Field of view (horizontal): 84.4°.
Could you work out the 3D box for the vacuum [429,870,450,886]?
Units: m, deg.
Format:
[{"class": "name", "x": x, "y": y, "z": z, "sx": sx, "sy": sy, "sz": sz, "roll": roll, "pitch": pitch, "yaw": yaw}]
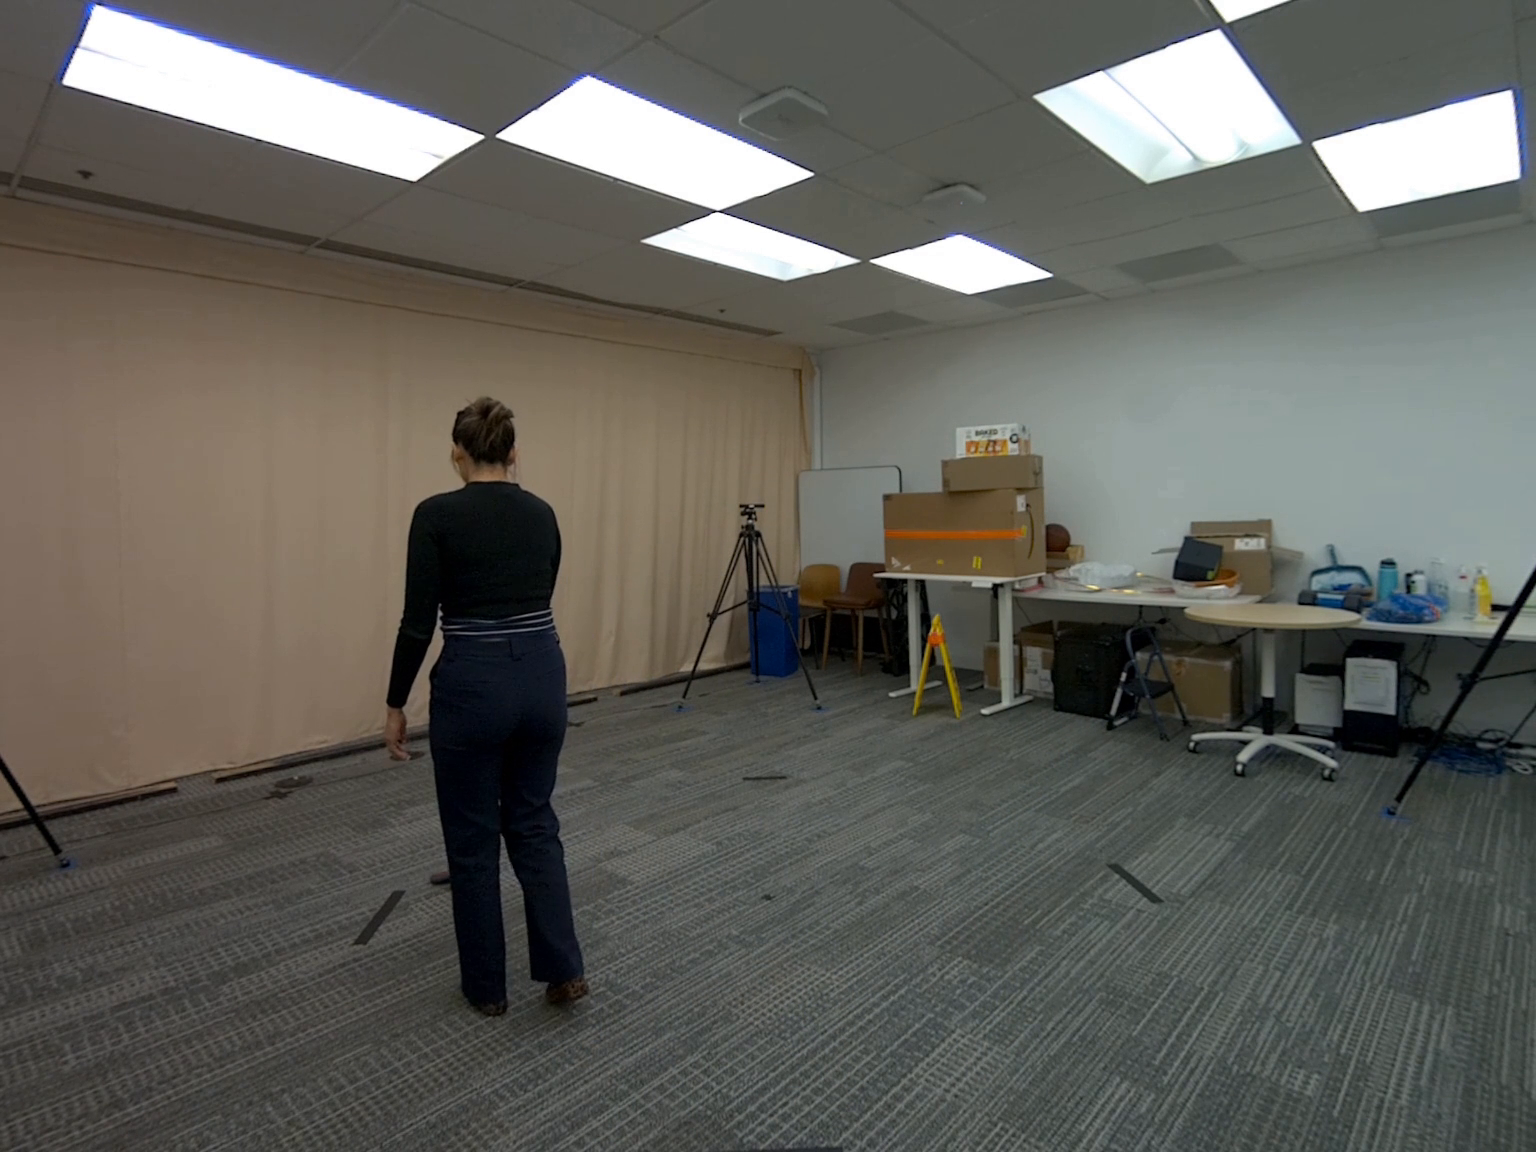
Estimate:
[{"class": "vacuum", "x": -0.989, "y": 0.790, "z": 2.845, "sx": 0.246, "sy": 0.148, "sz": 1.045, "roll": -7, "pitch": -39, "yaw": -31}]
